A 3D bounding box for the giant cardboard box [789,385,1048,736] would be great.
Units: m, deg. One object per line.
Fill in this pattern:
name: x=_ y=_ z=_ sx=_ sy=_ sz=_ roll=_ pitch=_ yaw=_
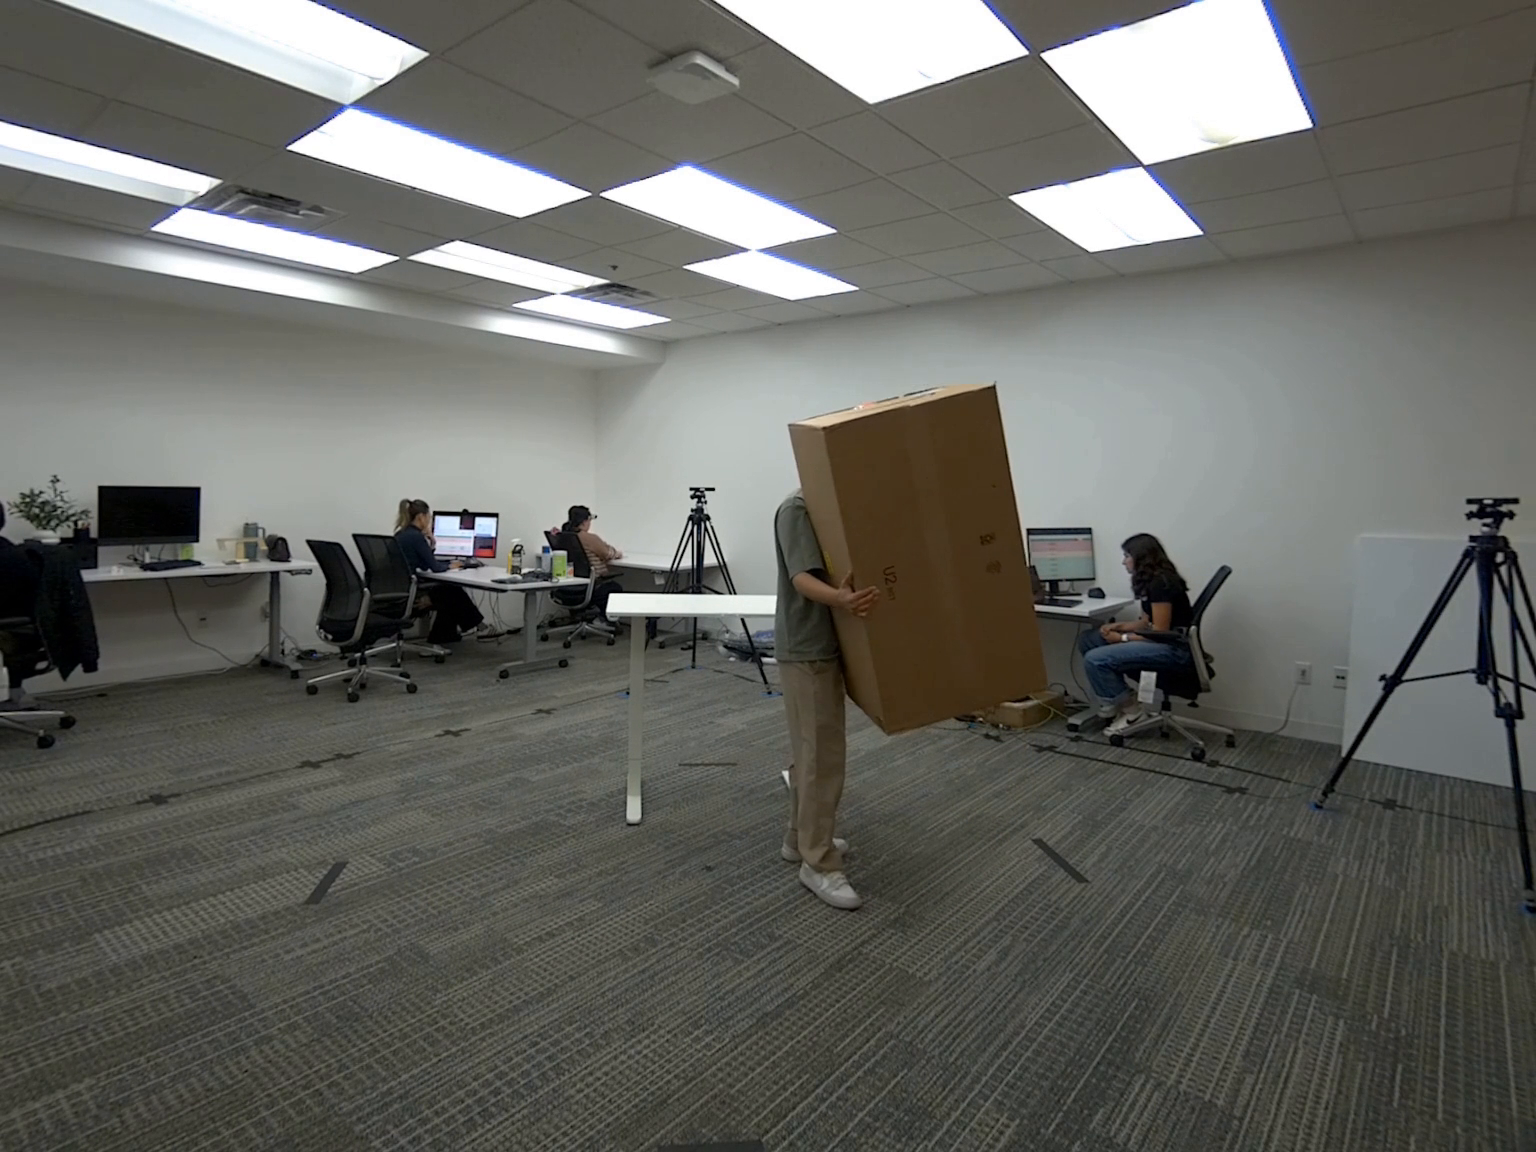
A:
giant cardboard box: x=0.492 y=-0.077 z=2.872 sx=0.573 sy=1.012 sz=0.435 roll=-15 pitch=12 yaw=-10
